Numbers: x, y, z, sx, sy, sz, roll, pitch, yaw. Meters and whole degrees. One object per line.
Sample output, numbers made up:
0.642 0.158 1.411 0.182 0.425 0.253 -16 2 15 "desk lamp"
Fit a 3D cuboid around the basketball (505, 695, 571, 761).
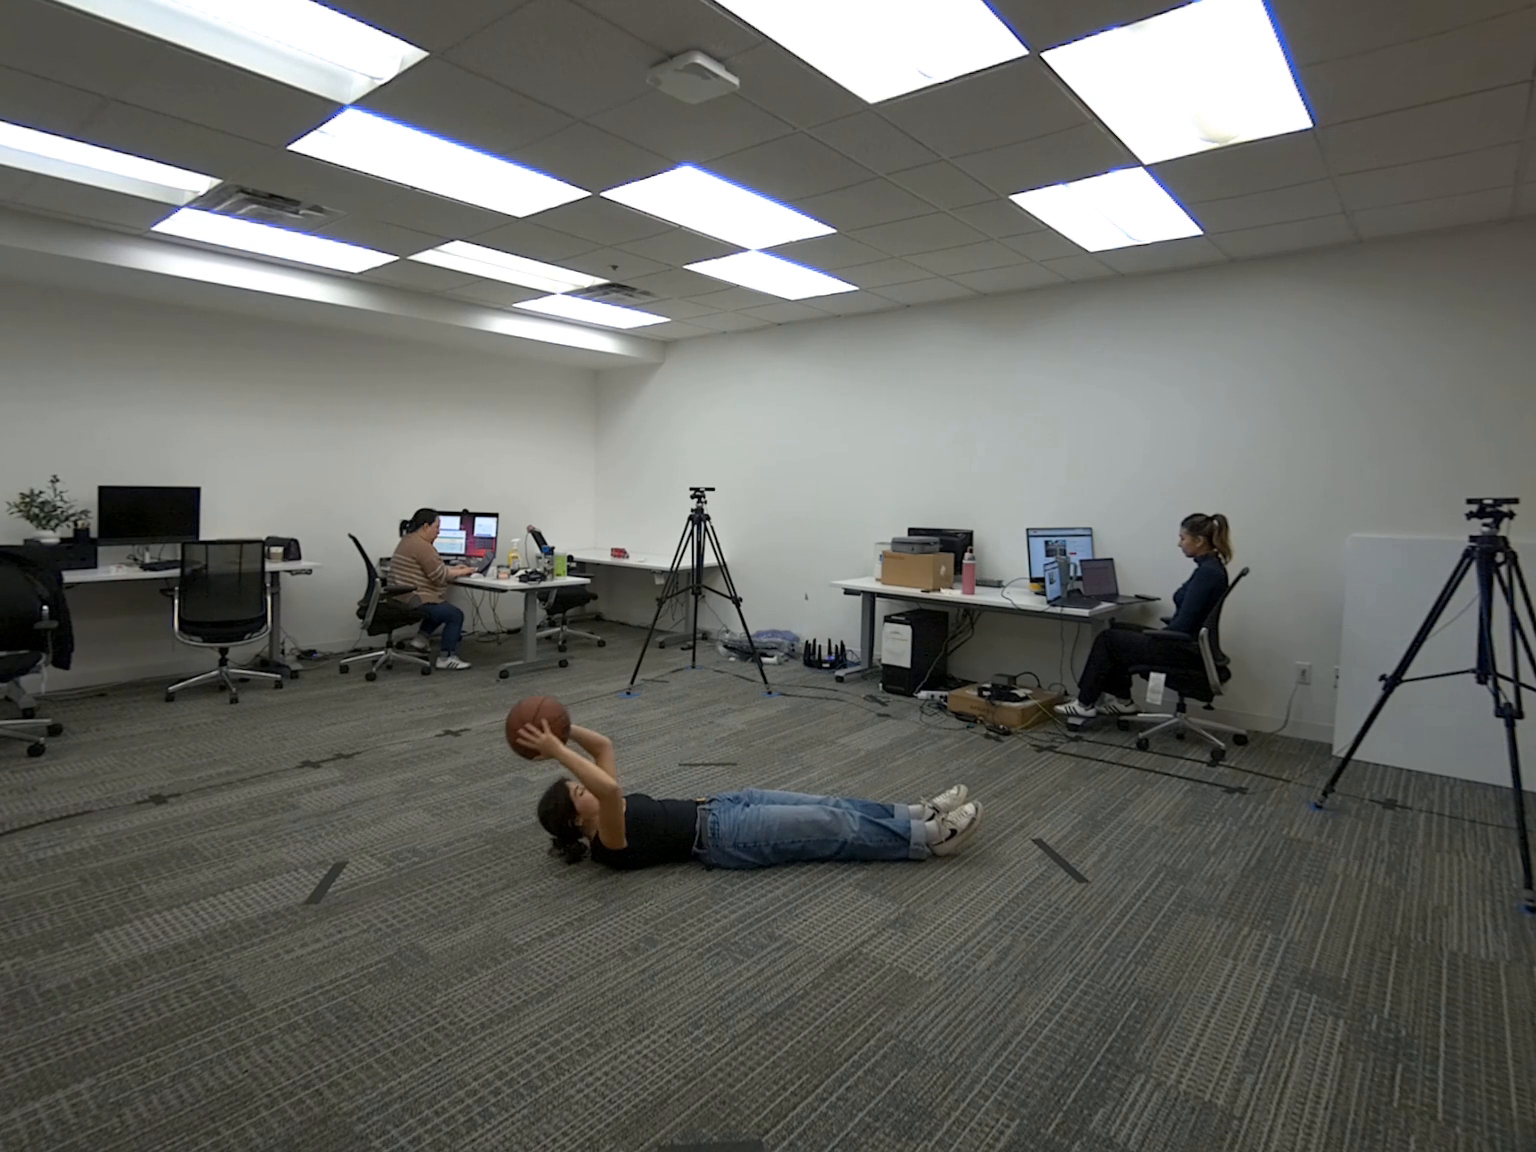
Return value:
-0.845 0.567 3.139 0.235 0.235 0.237 1 4 -2 "basketball"
